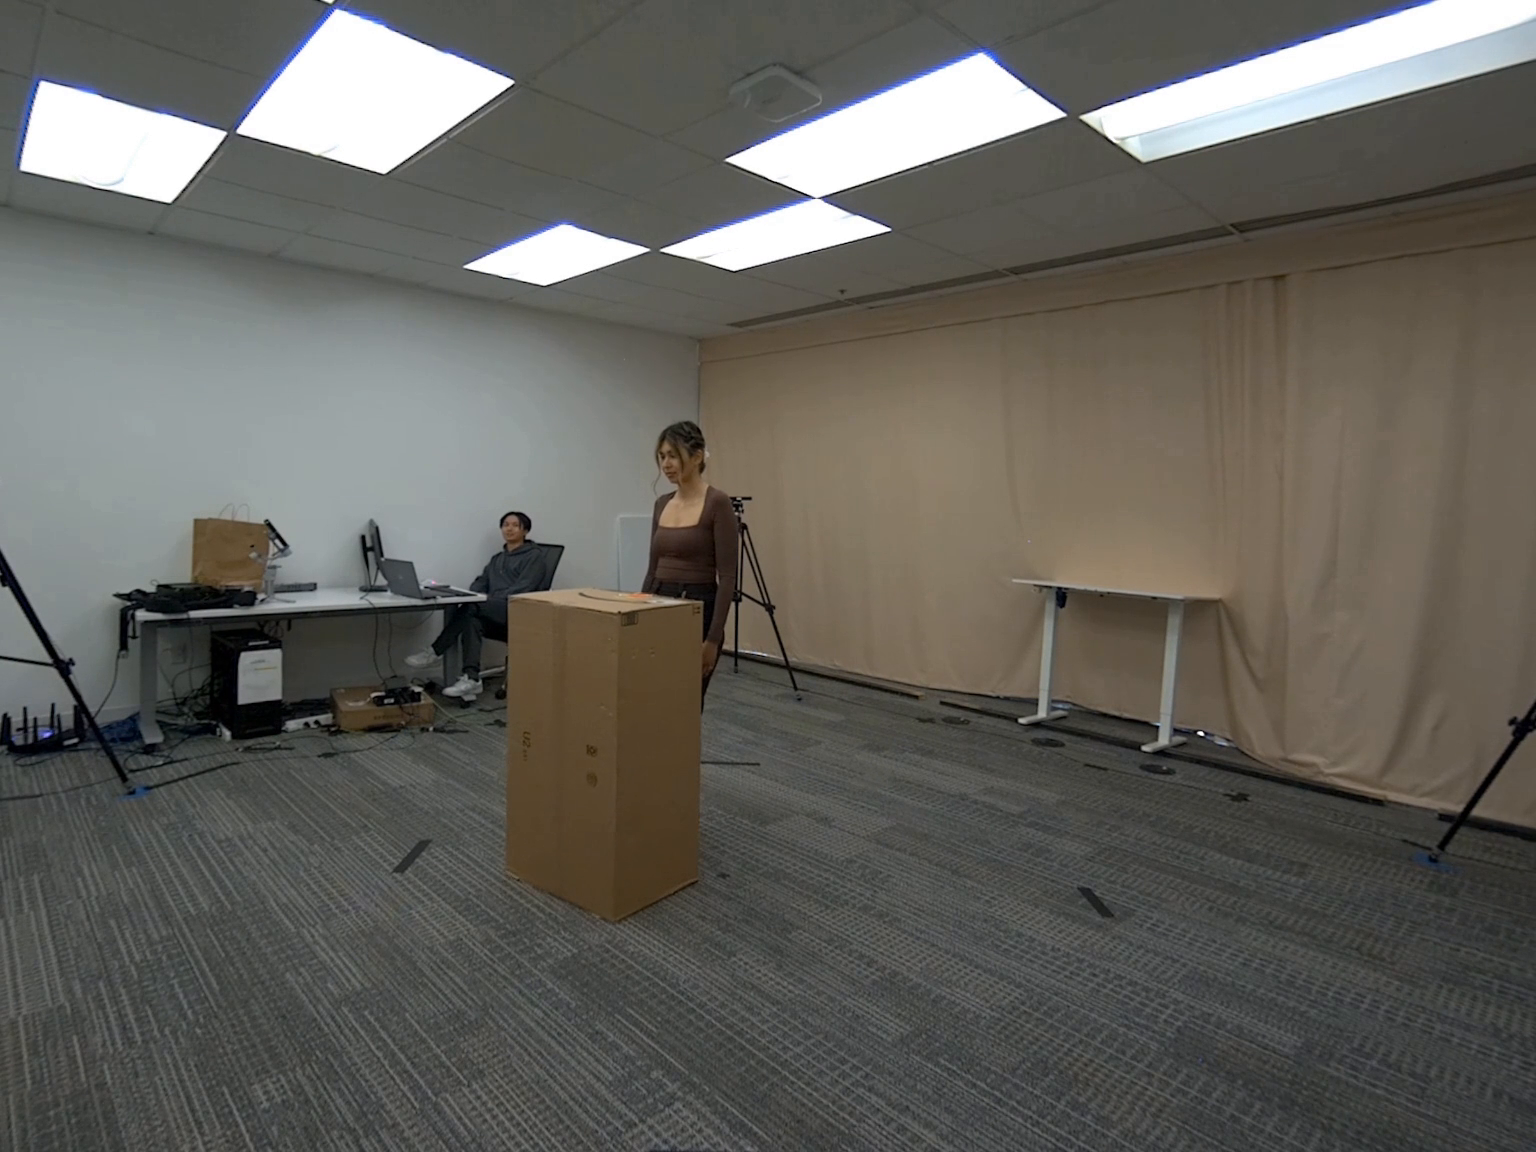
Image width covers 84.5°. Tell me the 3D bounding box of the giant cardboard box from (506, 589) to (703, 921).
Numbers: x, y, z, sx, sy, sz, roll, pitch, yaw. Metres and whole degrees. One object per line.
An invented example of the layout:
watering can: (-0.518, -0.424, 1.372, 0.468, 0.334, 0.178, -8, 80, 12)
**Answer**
giant cardboard box: (-0.599, 0.589, 3.047, 0.598, 1.025, 0.437, 4, 4, 39)
